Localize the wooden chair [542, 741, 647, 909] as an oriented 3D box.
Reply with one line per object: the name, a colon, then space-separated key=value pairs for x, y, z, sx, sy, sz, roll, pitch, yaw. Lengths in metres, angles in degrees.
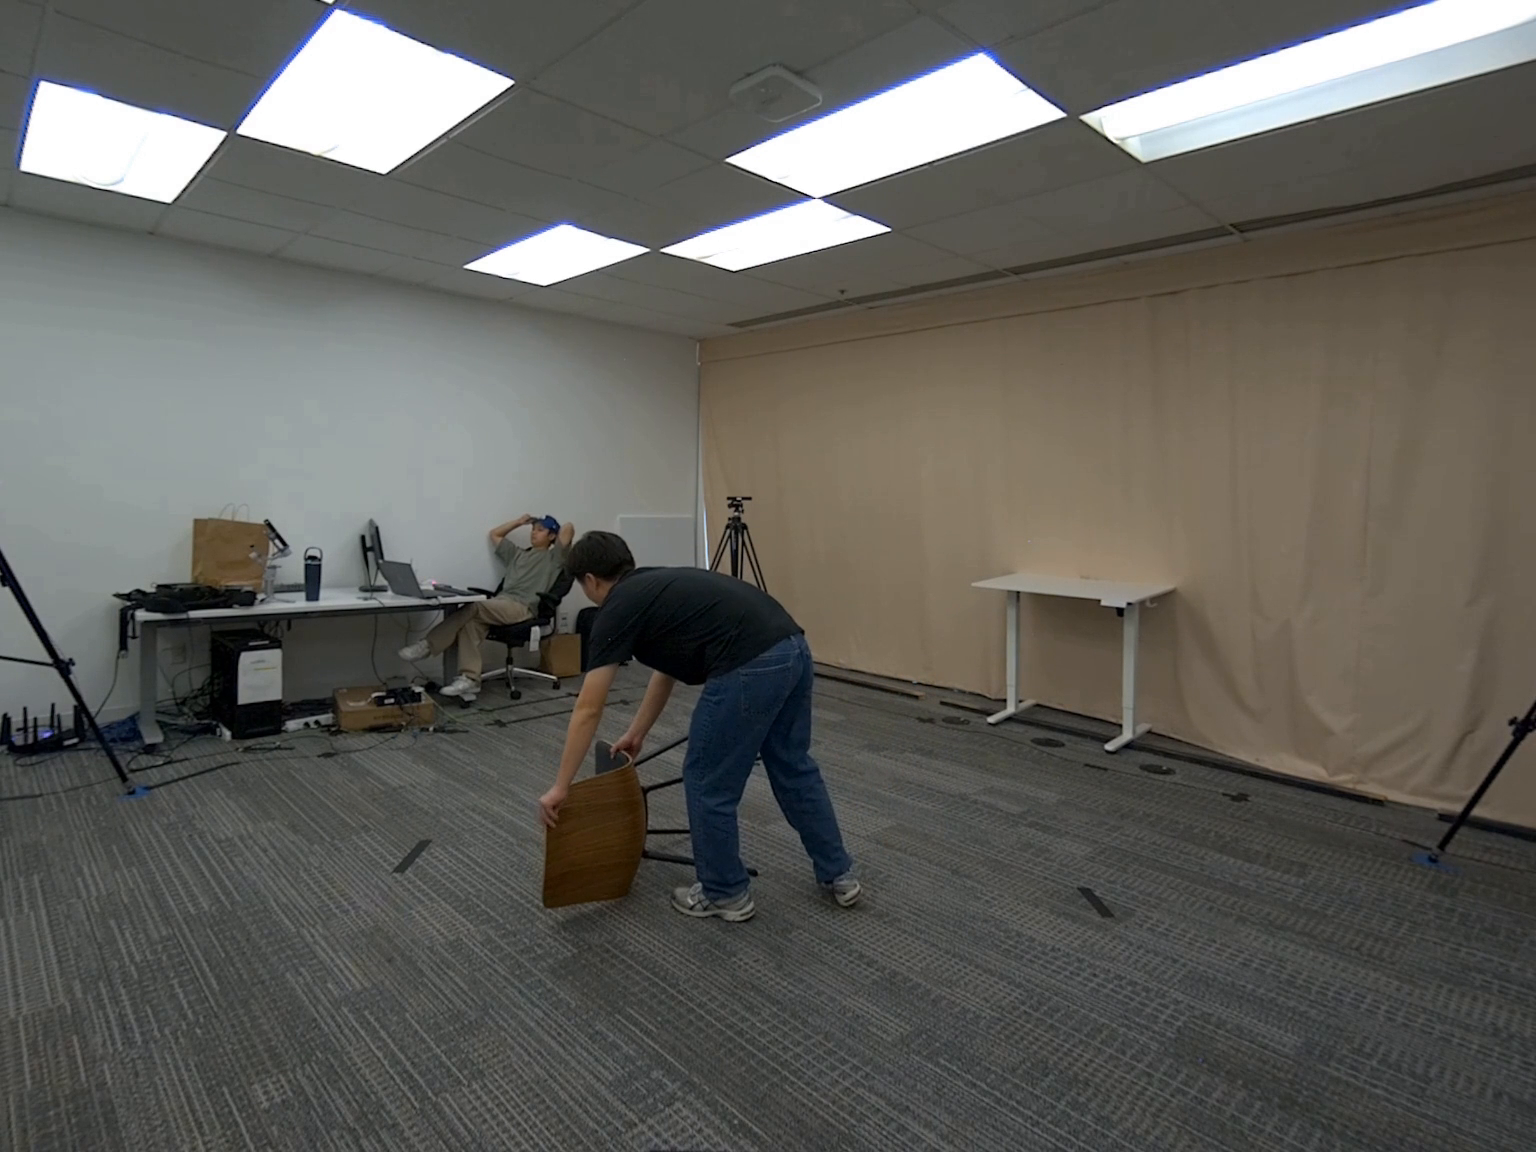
wooden chair: x=-0.515 y=0.869 z=3.088 sx=0.858 sy=0.477 sz=0.536 roll=-1 pitch=5 yaw=-36
